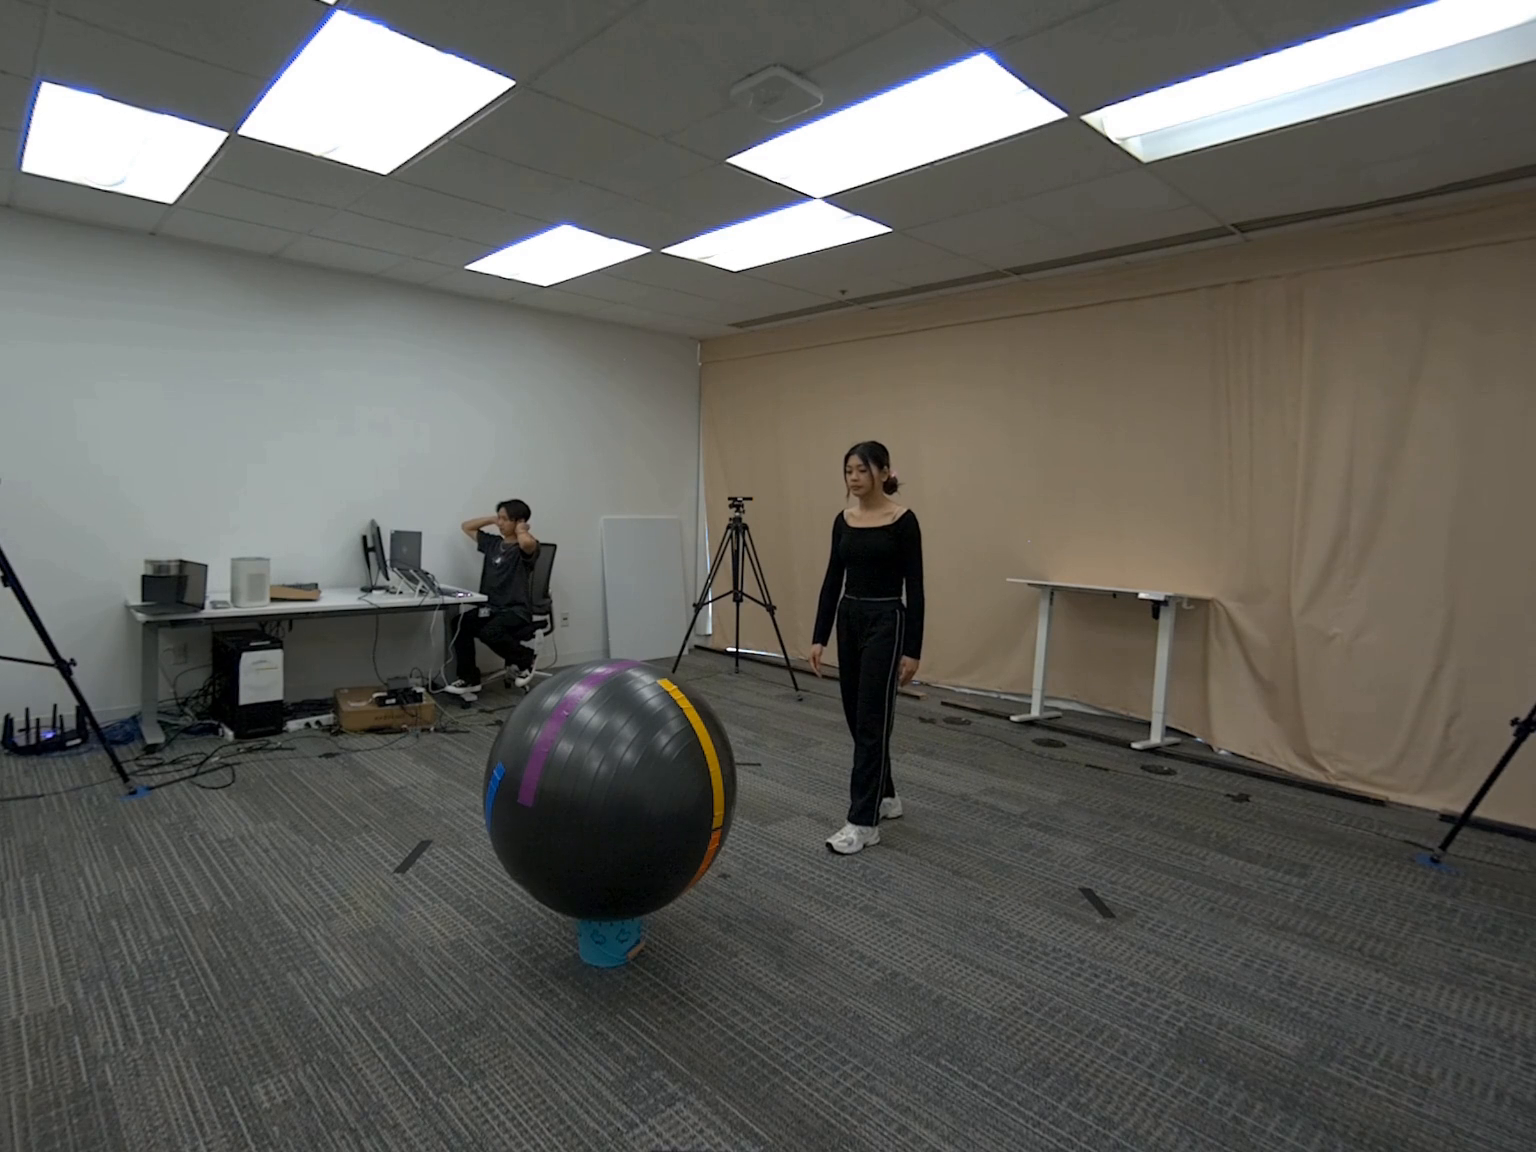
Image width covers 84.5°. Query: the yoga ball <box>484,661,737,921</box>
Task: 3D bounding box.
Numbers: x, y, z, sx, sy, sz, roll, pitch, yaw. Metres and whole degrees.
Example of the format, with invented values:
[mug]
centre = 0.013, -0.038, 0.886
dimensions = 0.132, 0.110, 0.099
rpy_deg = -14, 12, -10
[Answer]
[yoga ball]
centre = -0.474, 0.637, 2.548
dimensions = 0.757, 0.756, 0.761
rpy_deg = 1, 4, -1
